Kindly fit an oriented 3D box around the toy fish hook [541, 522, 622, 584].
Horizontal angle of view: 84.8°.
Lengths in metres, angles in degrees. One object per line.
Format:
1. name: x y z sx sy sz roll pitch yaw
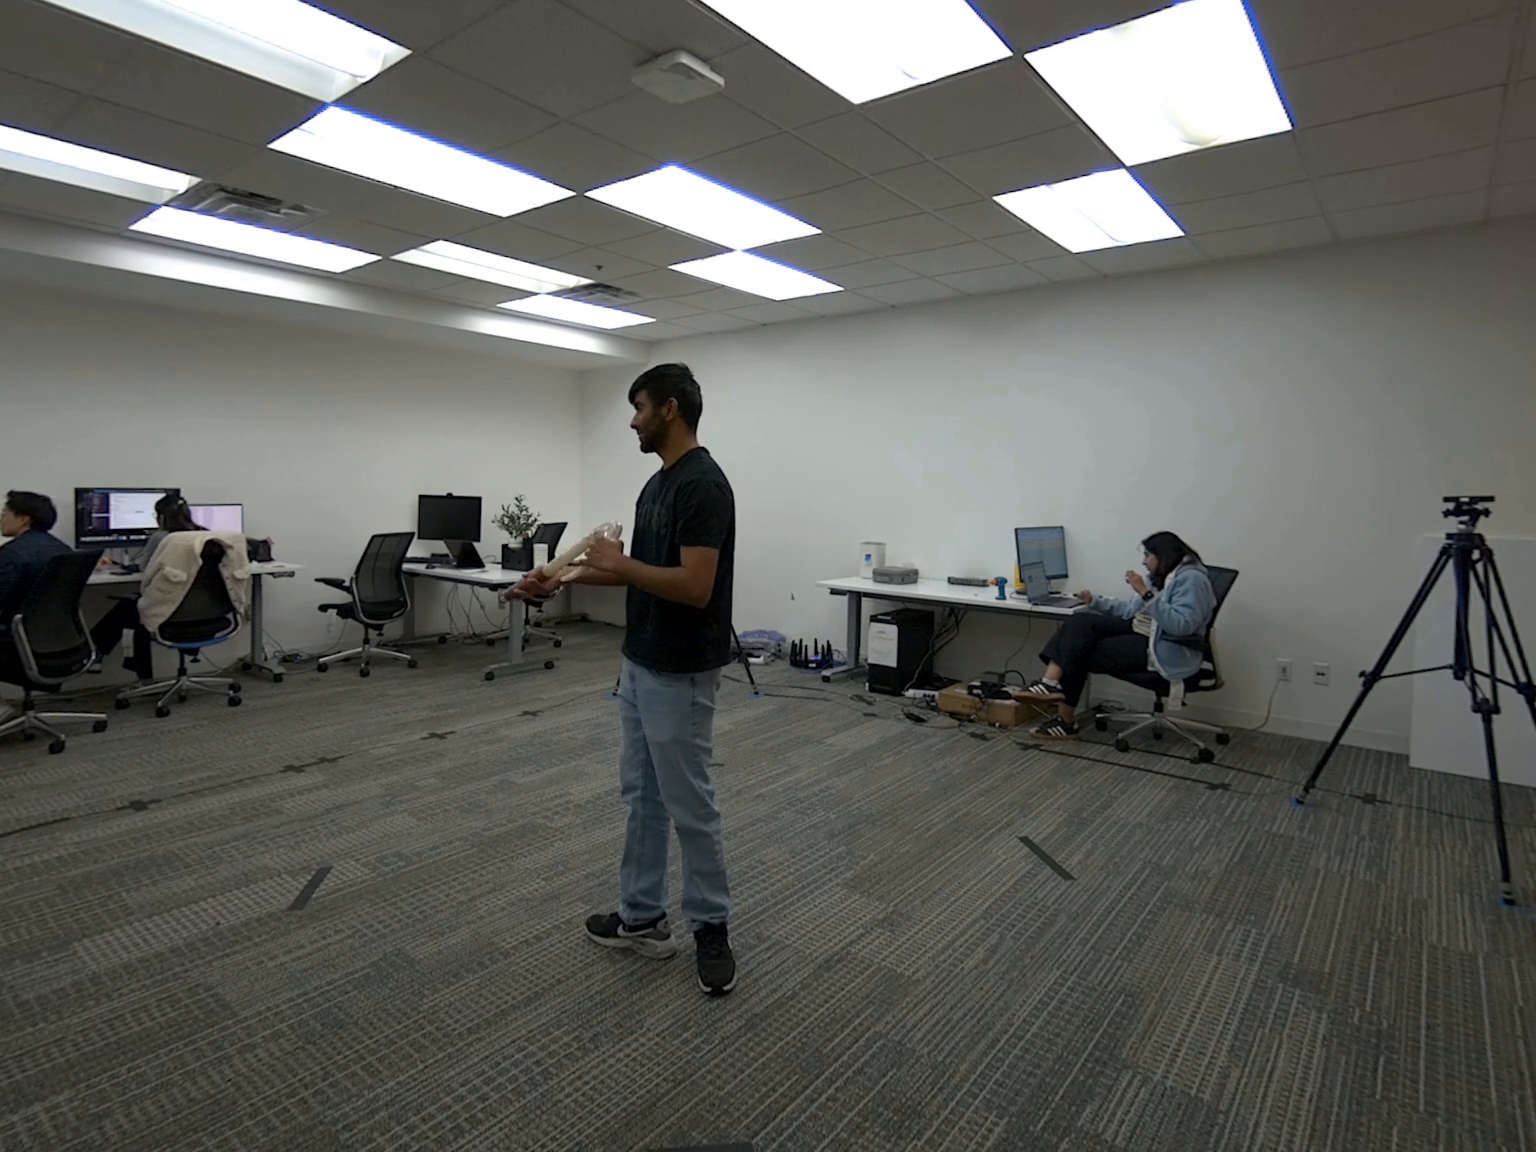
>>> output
1. toy fish hook: -0.647 -0.013 2.529 0.511 0.047 0.229 -30 23 21
